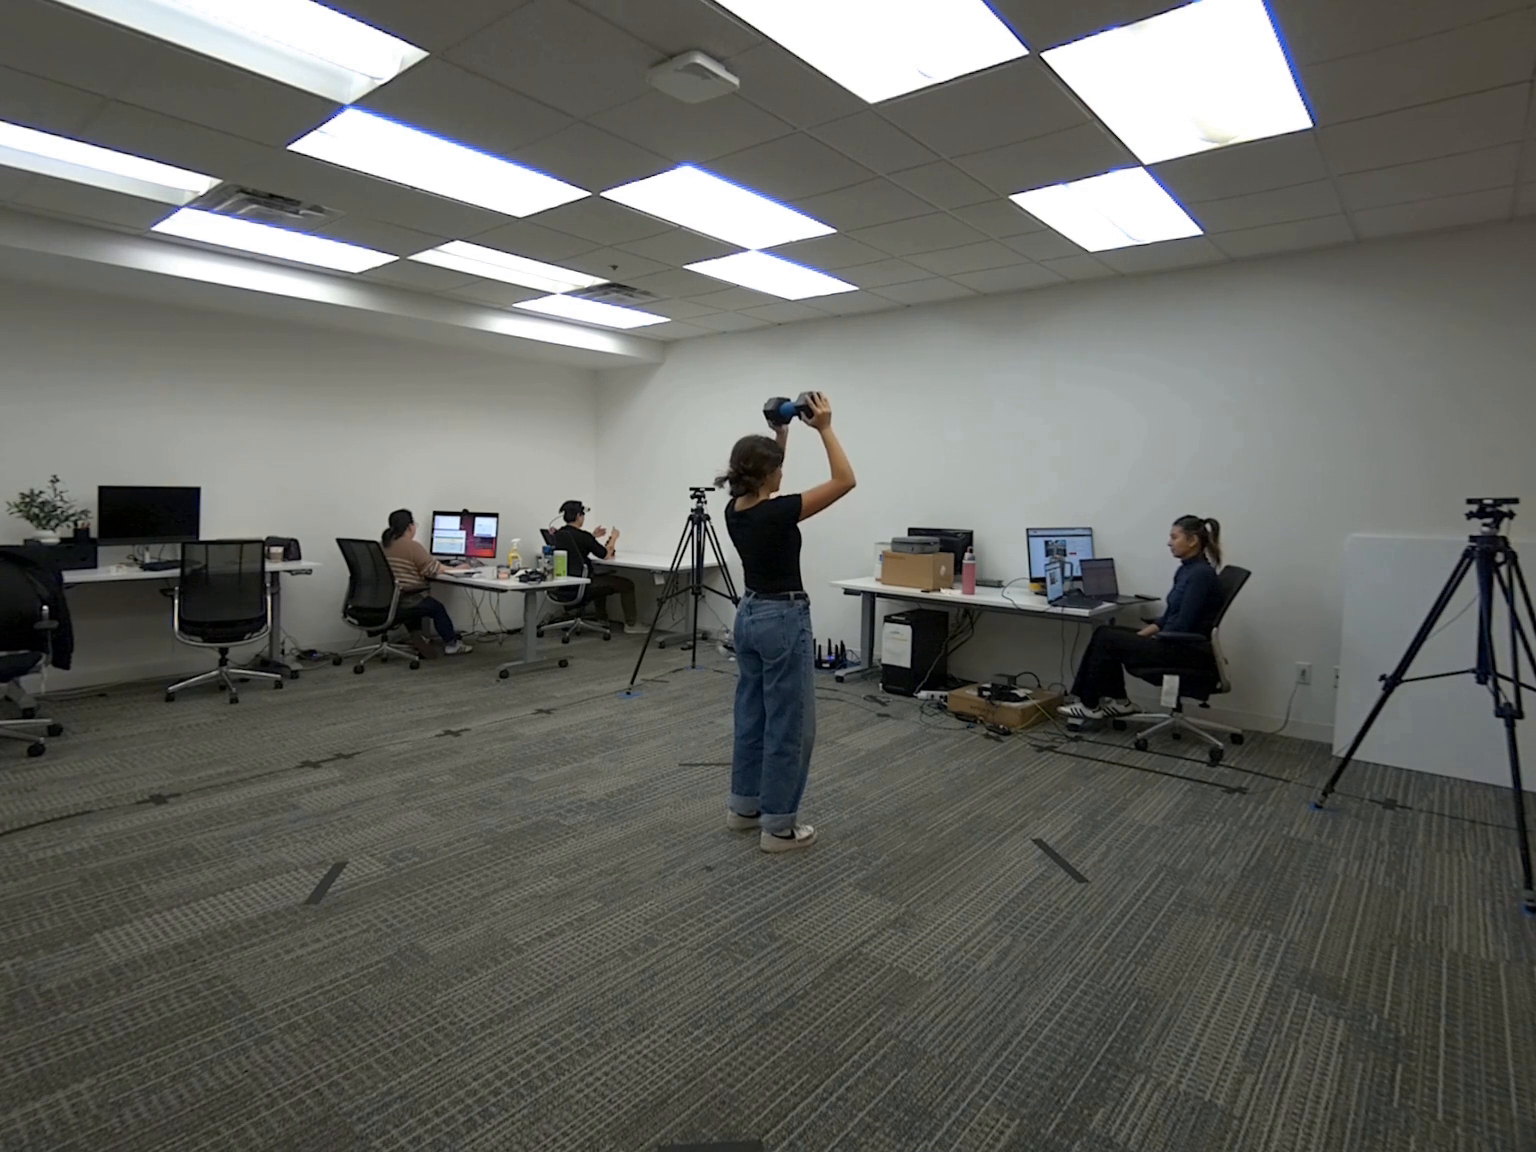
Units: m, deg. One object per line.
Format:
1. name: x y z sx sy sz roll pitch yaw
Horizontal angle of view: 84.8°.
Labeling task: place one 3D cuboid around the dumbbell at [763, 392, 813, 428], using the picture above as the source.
1. dumbbell: 0.093 -0.659 3.358 0.105 0.123 0.303 35 -16 -32
